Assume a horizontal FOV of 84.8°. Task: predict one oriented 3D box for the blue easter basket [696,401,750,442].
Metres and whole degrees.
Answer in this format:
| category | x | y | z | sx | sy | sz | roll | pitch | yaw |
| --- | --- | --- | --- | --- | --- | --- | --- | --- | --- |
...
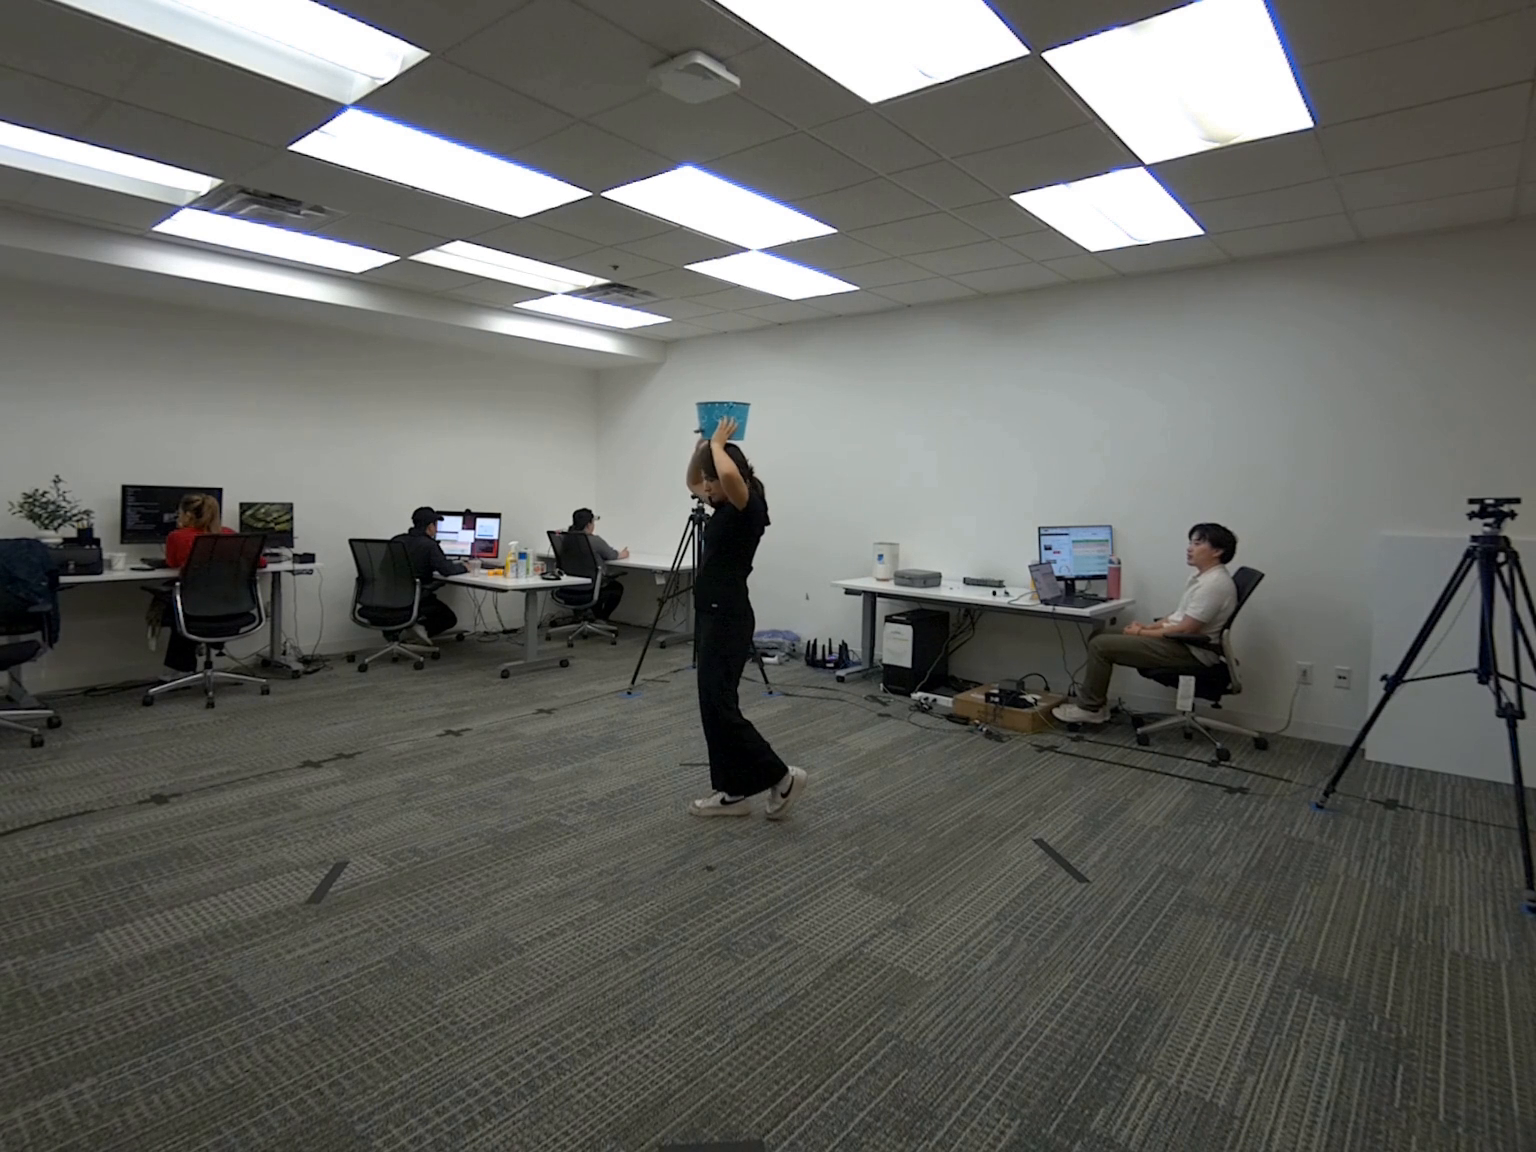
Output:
| category | x | y | z | sx | sy | sz | roll | pitch | yaw |
| --- | --- | --- | --- | --- | --- | --- | --- | --- | --- |
| blue easter basket | -0.204 | -0.656 | 3.581 | 0.243 | 0.155 | 0.245 | 2 | 7 | -2 |
